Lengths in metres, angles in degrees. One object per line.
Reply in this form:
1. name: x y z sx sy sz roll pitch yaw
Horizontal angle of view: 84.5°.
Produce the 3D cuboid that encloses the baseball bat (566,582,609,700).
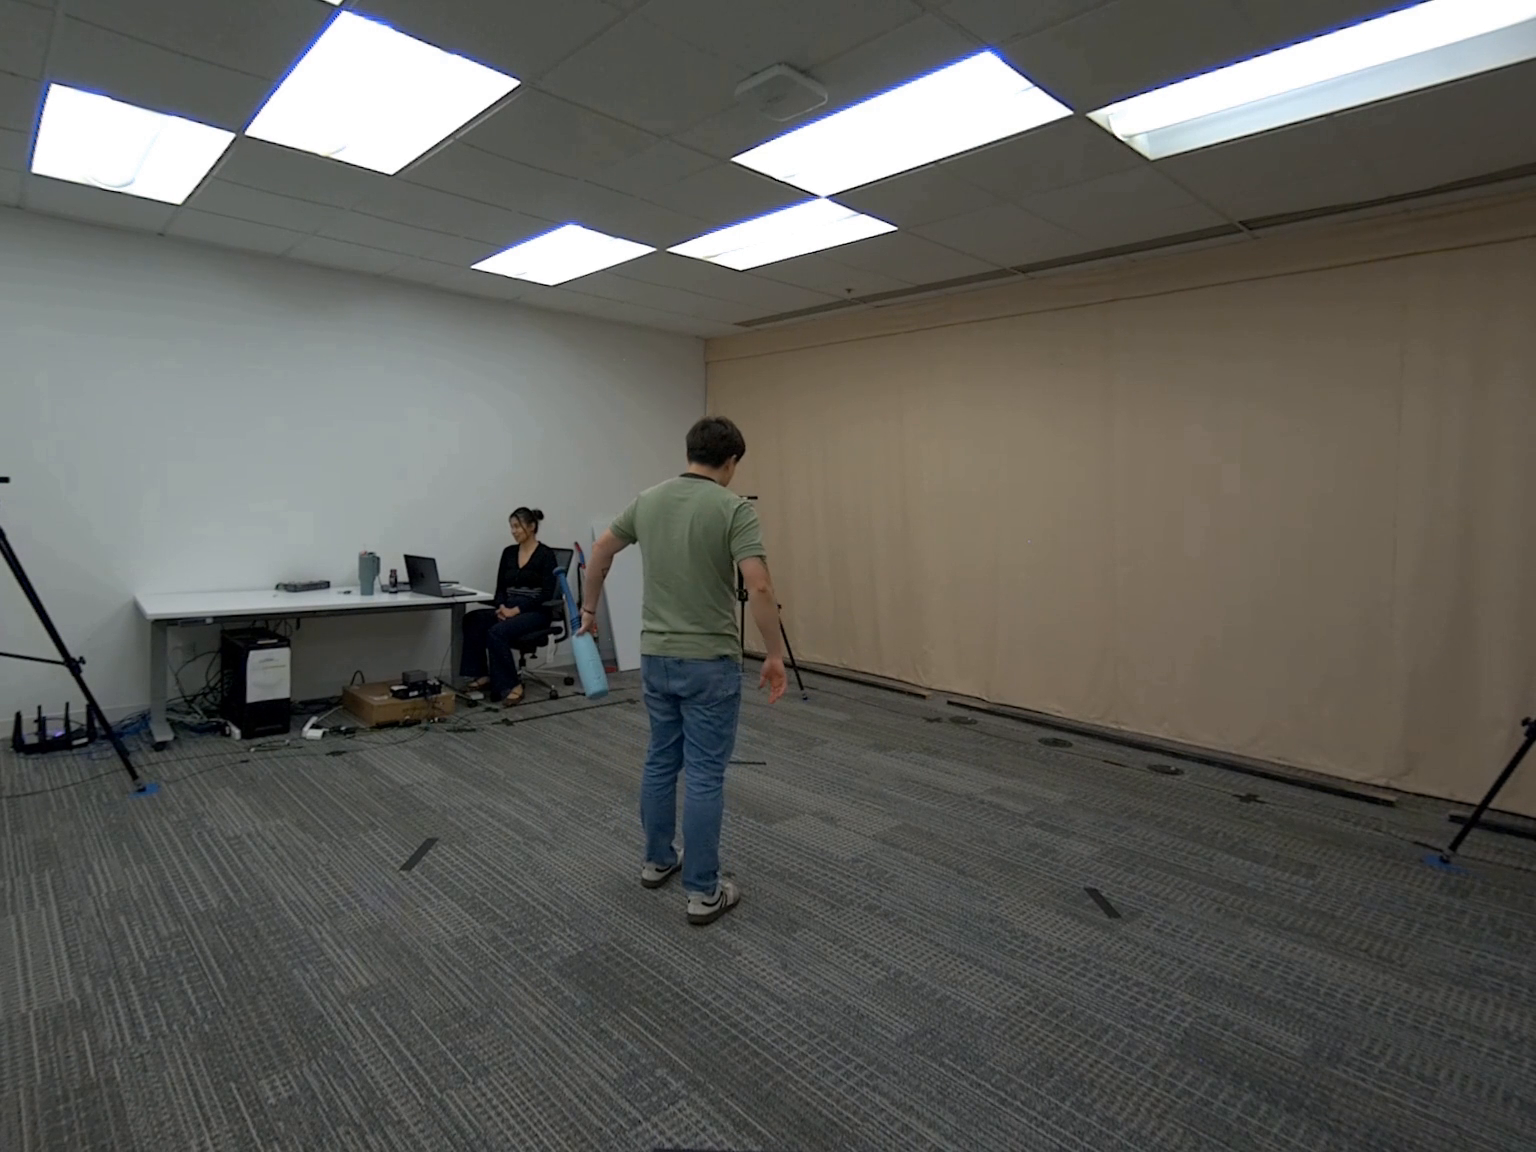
1. baseball bat: -0.706 0.202 3.134 0.088 0.556 0.087 -18 -27 -11
